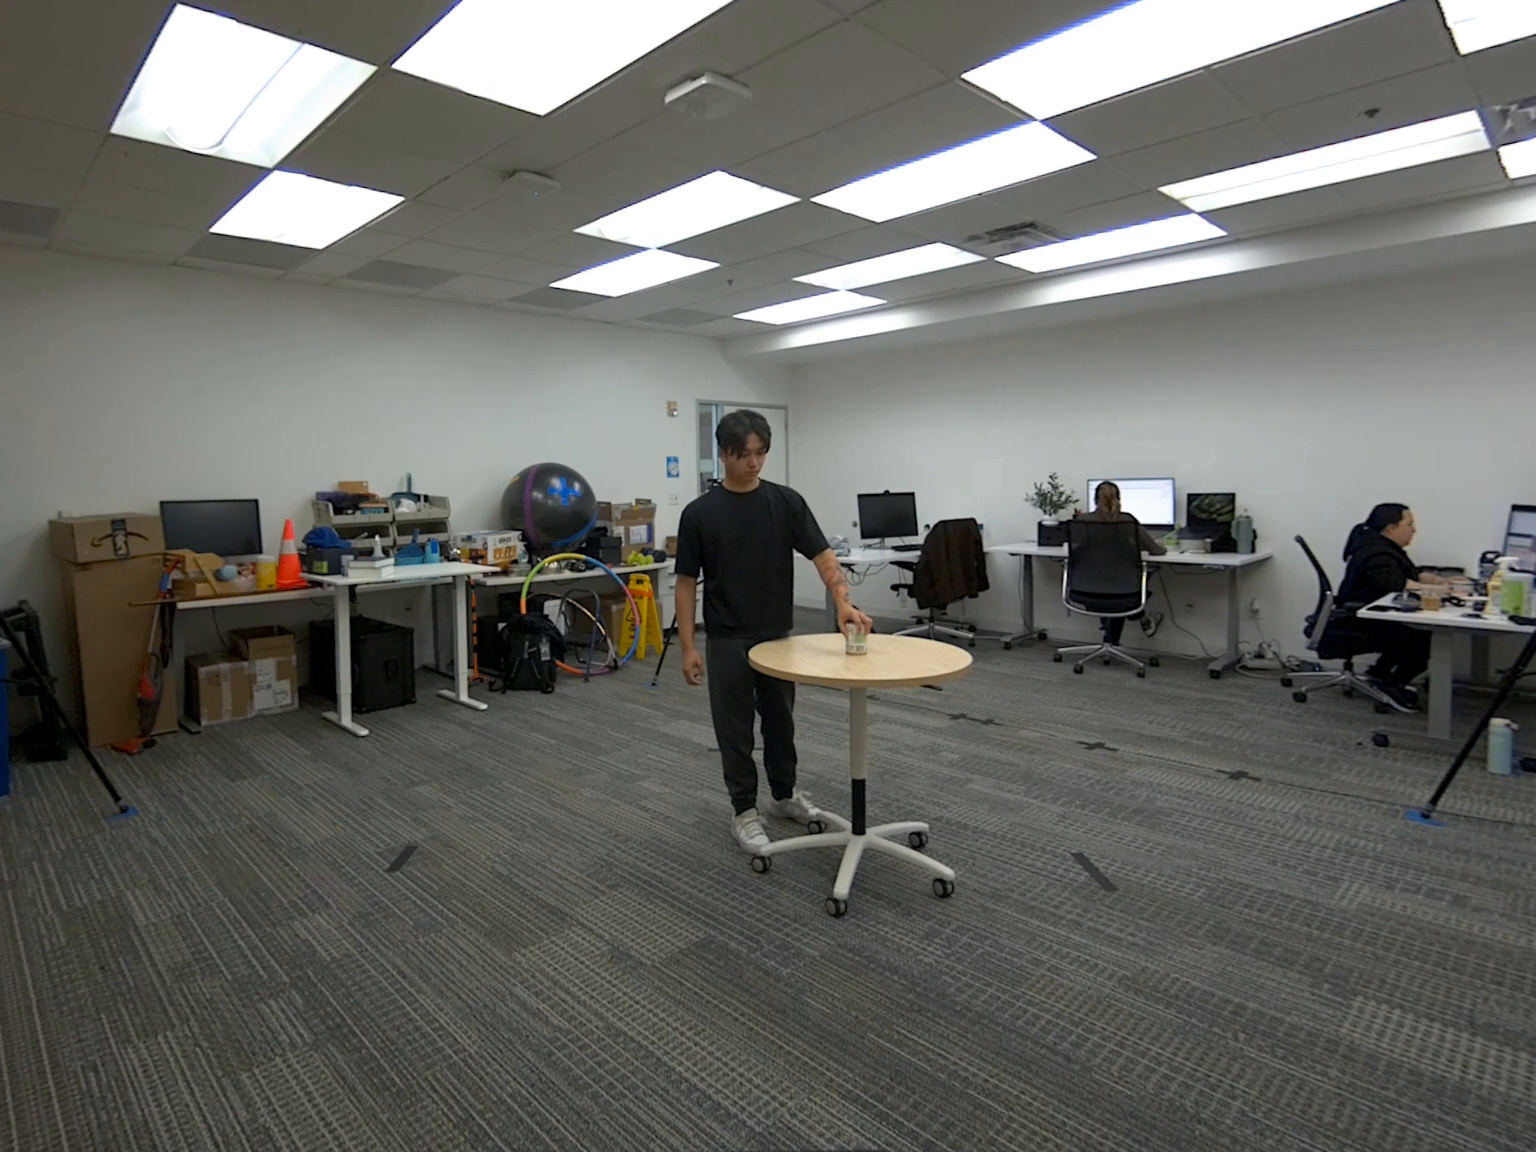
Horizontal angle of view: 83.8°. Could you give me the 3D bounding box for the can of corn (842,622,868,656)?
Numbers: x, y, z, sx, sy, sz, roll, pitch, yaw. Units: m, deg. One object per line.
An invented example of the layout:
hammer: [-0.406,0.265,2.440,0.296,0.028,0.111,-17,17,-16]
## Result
can of corn: [0.310,0.214,2.977,0.074,0.111,0.074,-3,2,-2]
